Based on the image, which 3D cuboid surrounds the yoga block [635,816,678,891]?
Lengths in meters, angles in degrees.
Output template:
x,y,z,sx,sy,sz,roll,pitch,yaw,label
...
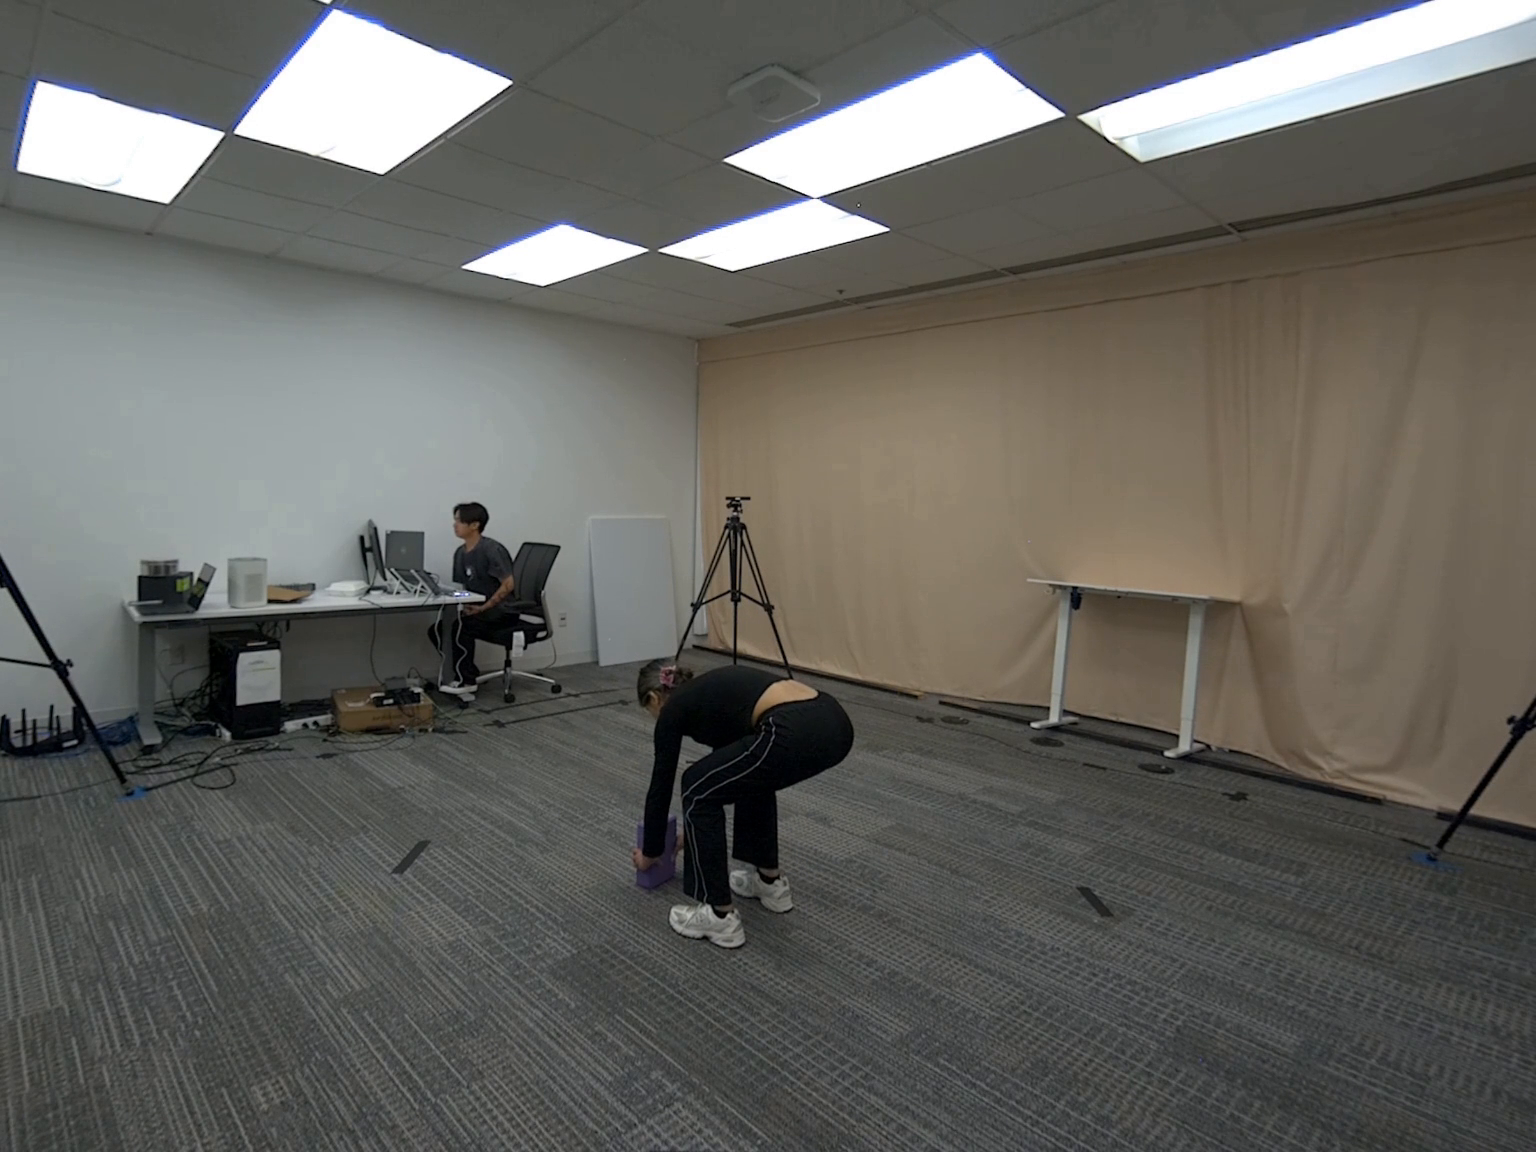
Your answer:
x,y,z,sx,sy,sz,roll,pitch,yaw,label
-0.404,0.991,3.045,0.078,0.229,0.146,0,1,29,yoga block
